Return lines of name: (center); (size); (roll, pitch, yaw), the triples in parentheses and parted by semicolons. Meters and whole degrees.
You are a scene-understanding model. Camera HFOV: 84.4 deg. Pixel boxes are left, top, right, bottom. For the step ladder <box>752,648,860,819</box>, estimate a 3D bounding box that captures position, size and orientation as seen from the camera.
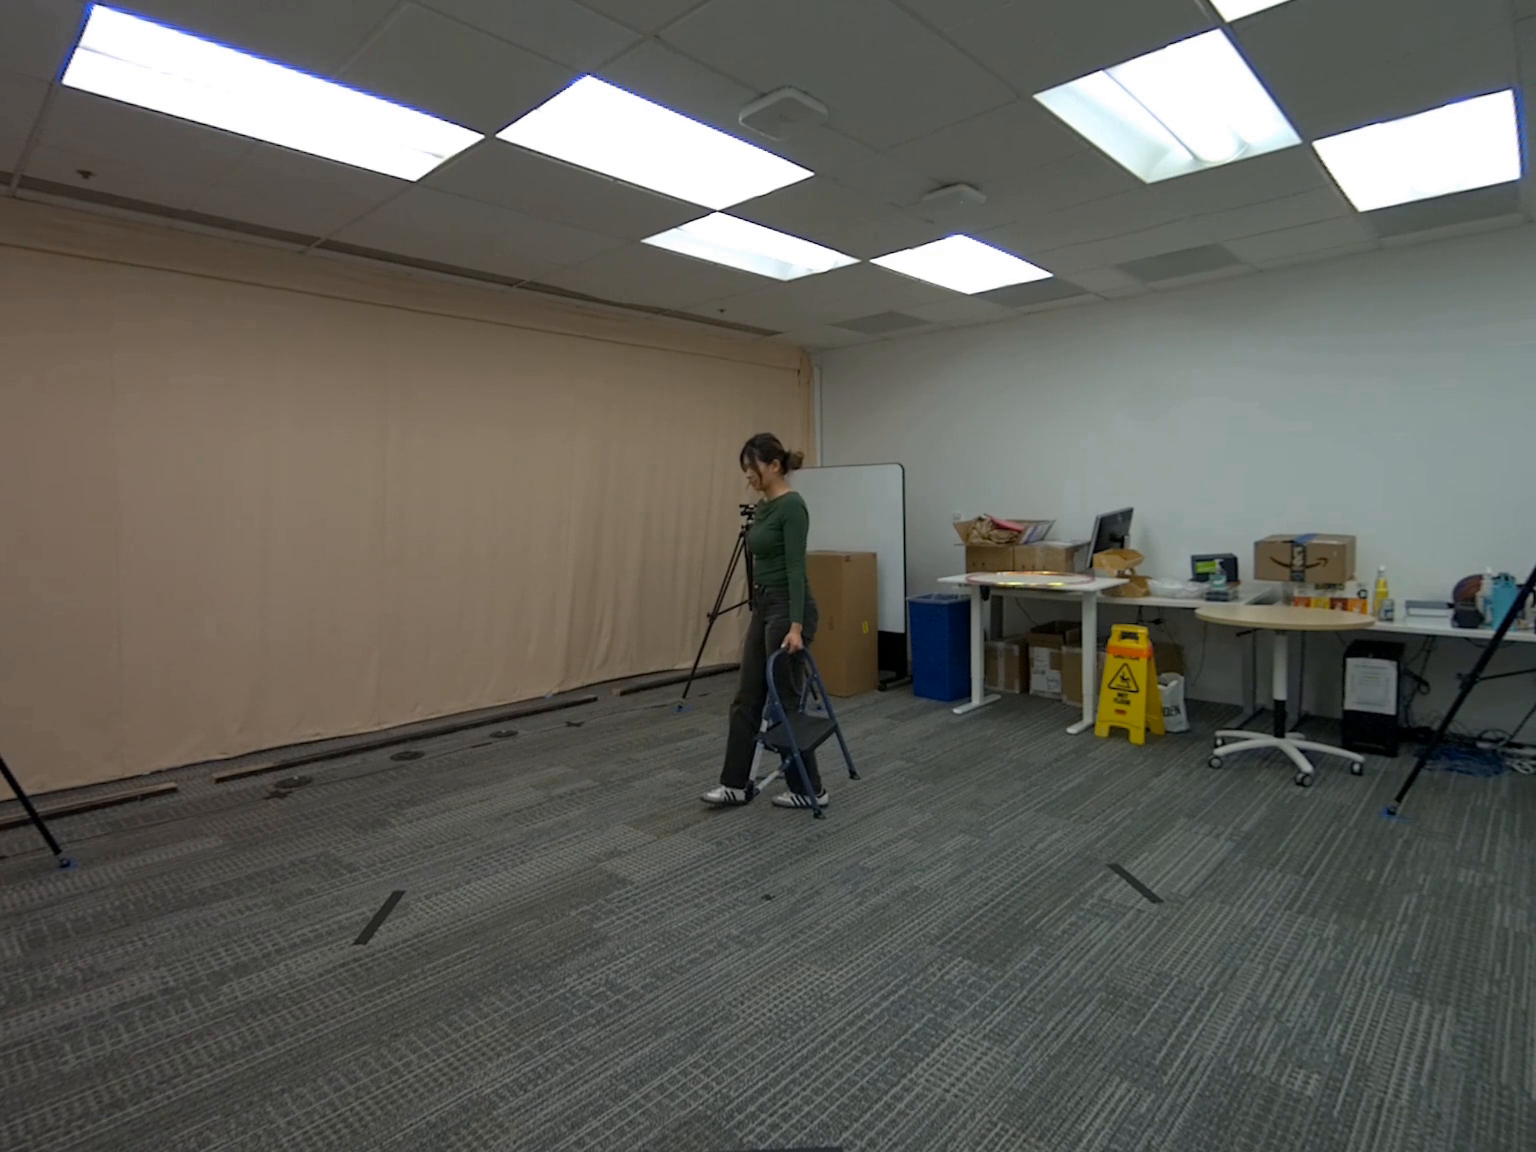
step ladder: (0.144, 0.599, 3.479); (0.359, 0.602, 0.421); (4, 10, 27)
